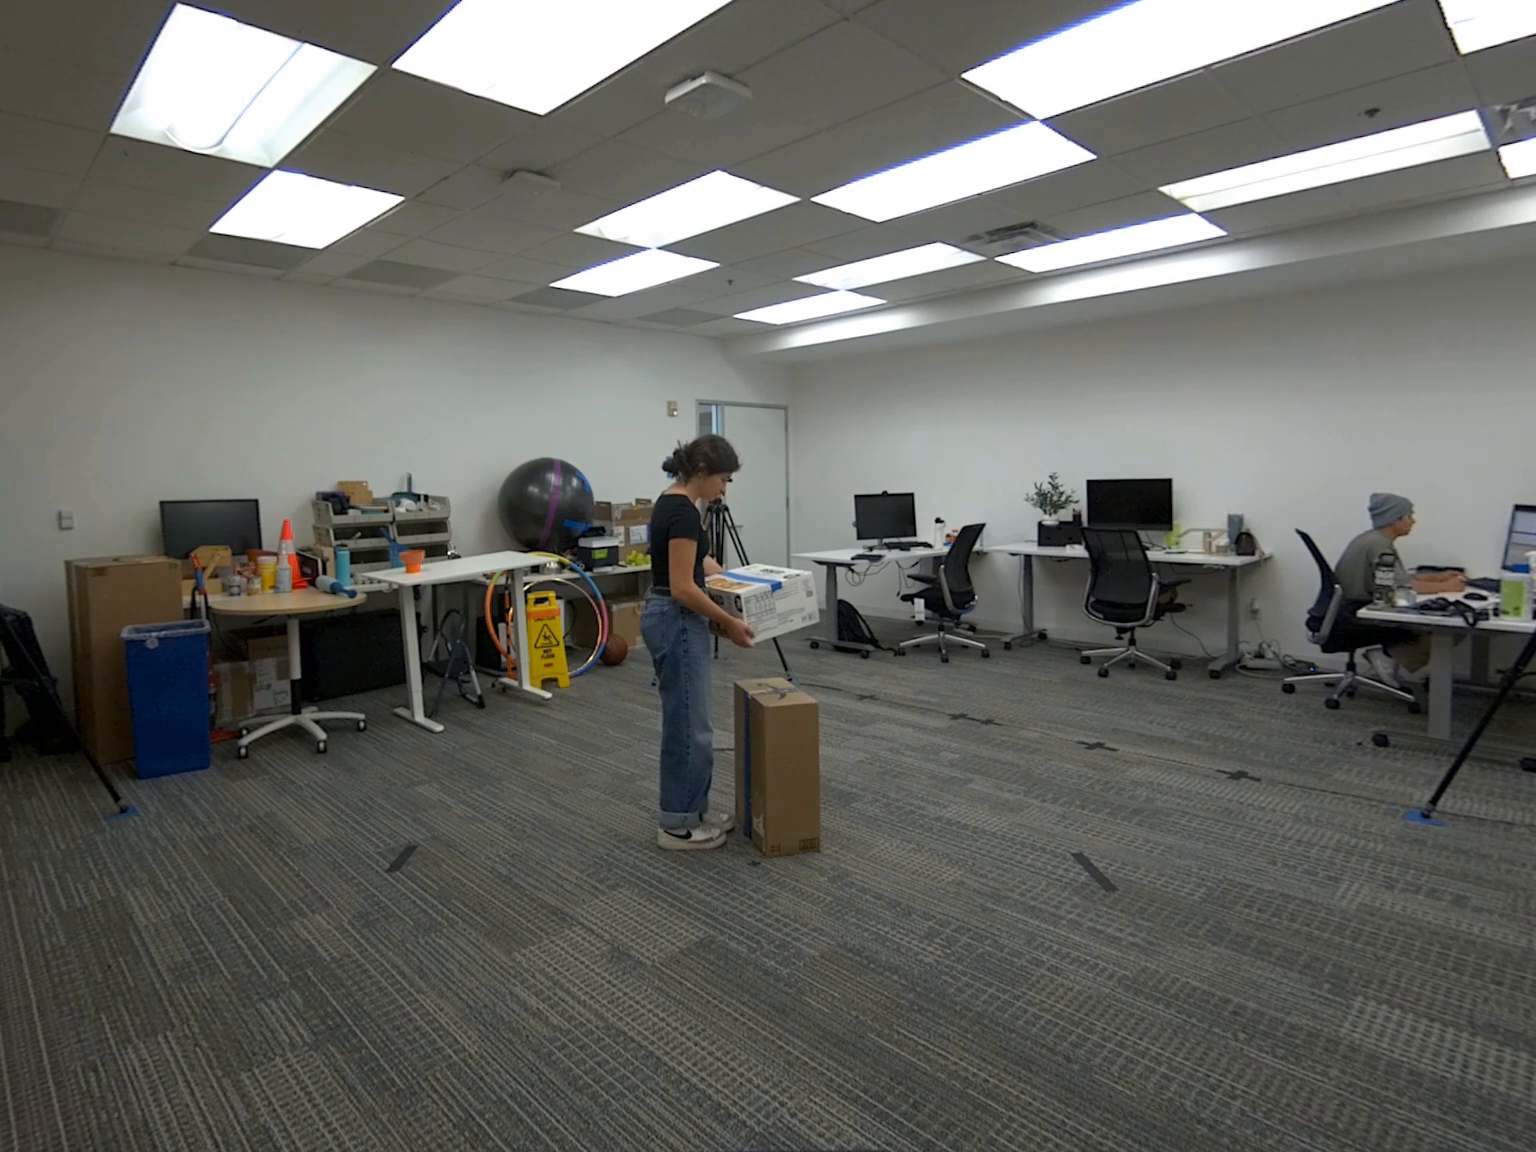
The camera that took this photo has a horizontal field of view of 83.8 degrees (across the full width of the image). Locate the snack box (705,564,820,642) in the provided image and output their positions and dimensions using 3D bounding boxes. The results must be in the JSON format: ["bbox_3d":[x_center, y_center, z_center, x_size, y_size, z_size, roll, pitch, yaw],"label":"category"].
[{"bbox_3d":[-0.063,0.106,3.390,0.334,0.203,0.417,-15,13,-31],"label":"snack box"}]
